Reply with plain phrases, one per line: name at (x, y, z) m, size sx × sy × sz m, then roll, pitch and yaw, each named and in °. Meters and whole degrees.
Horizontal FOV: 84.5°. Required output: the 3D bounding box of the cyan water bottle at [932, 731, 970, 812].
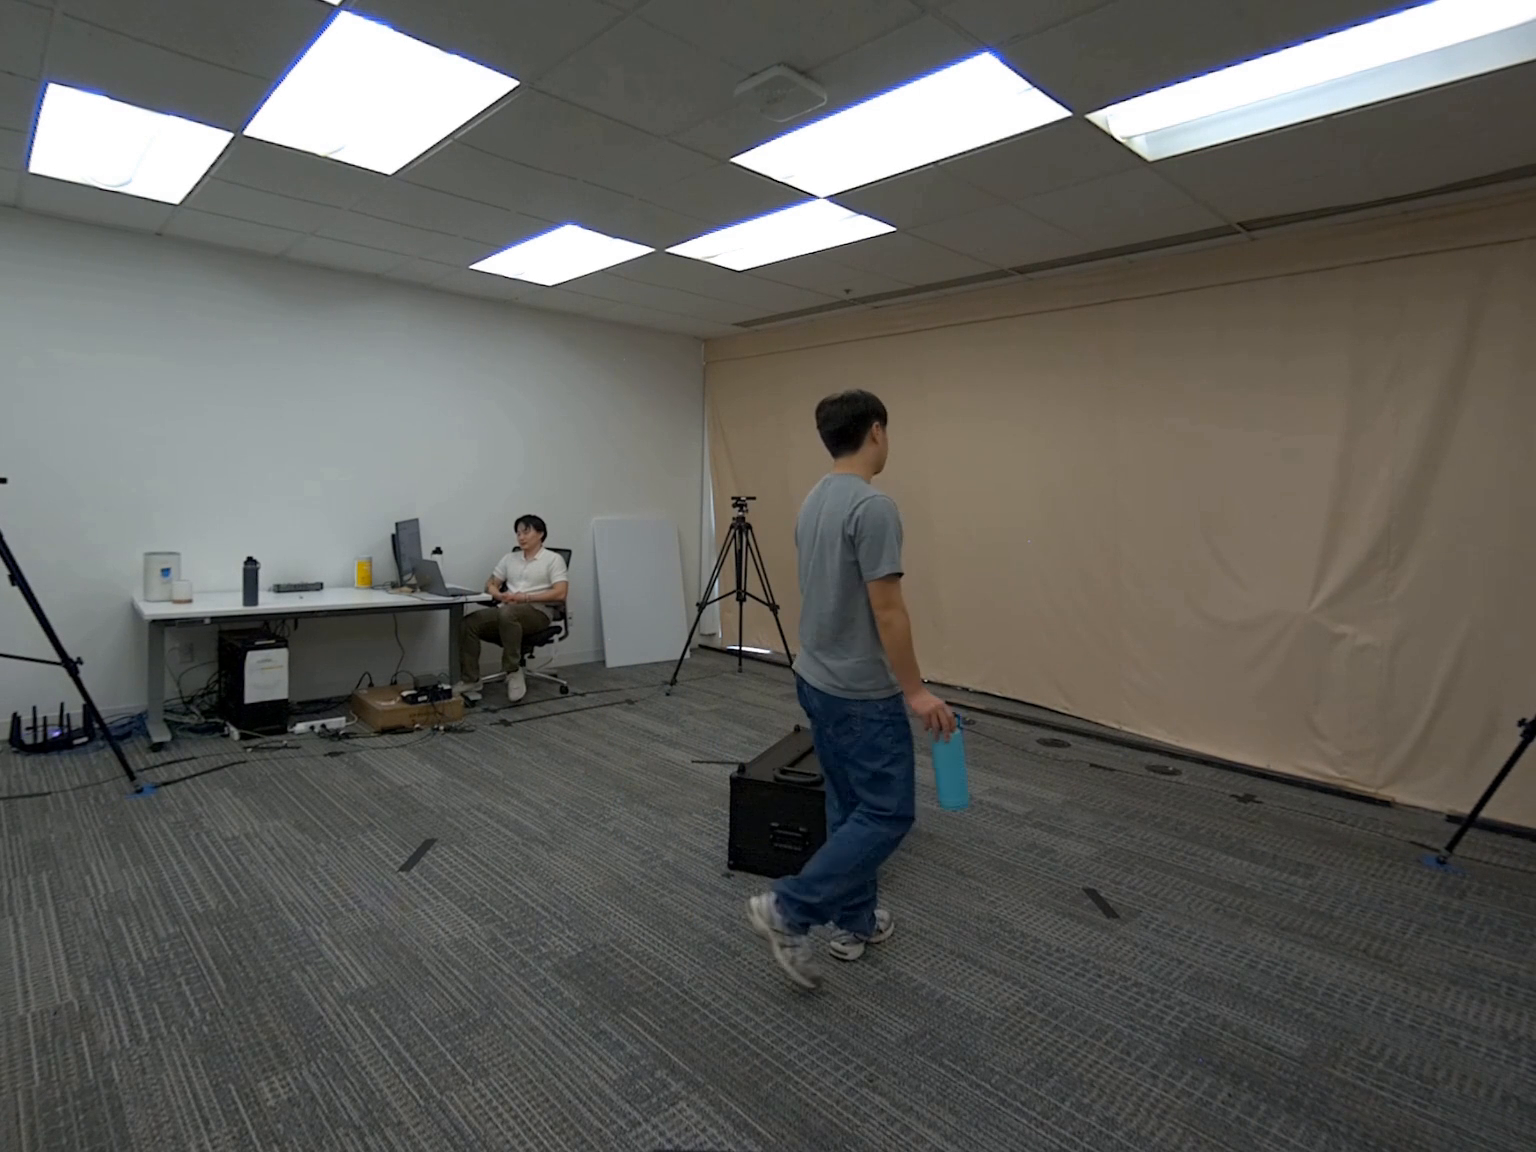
cyan water bottle at (0.507, 0.510, 2.379) m, size 0.092 × 0.283 × 0.092 m, roll -4°, pitch 0°, yaw -1°
